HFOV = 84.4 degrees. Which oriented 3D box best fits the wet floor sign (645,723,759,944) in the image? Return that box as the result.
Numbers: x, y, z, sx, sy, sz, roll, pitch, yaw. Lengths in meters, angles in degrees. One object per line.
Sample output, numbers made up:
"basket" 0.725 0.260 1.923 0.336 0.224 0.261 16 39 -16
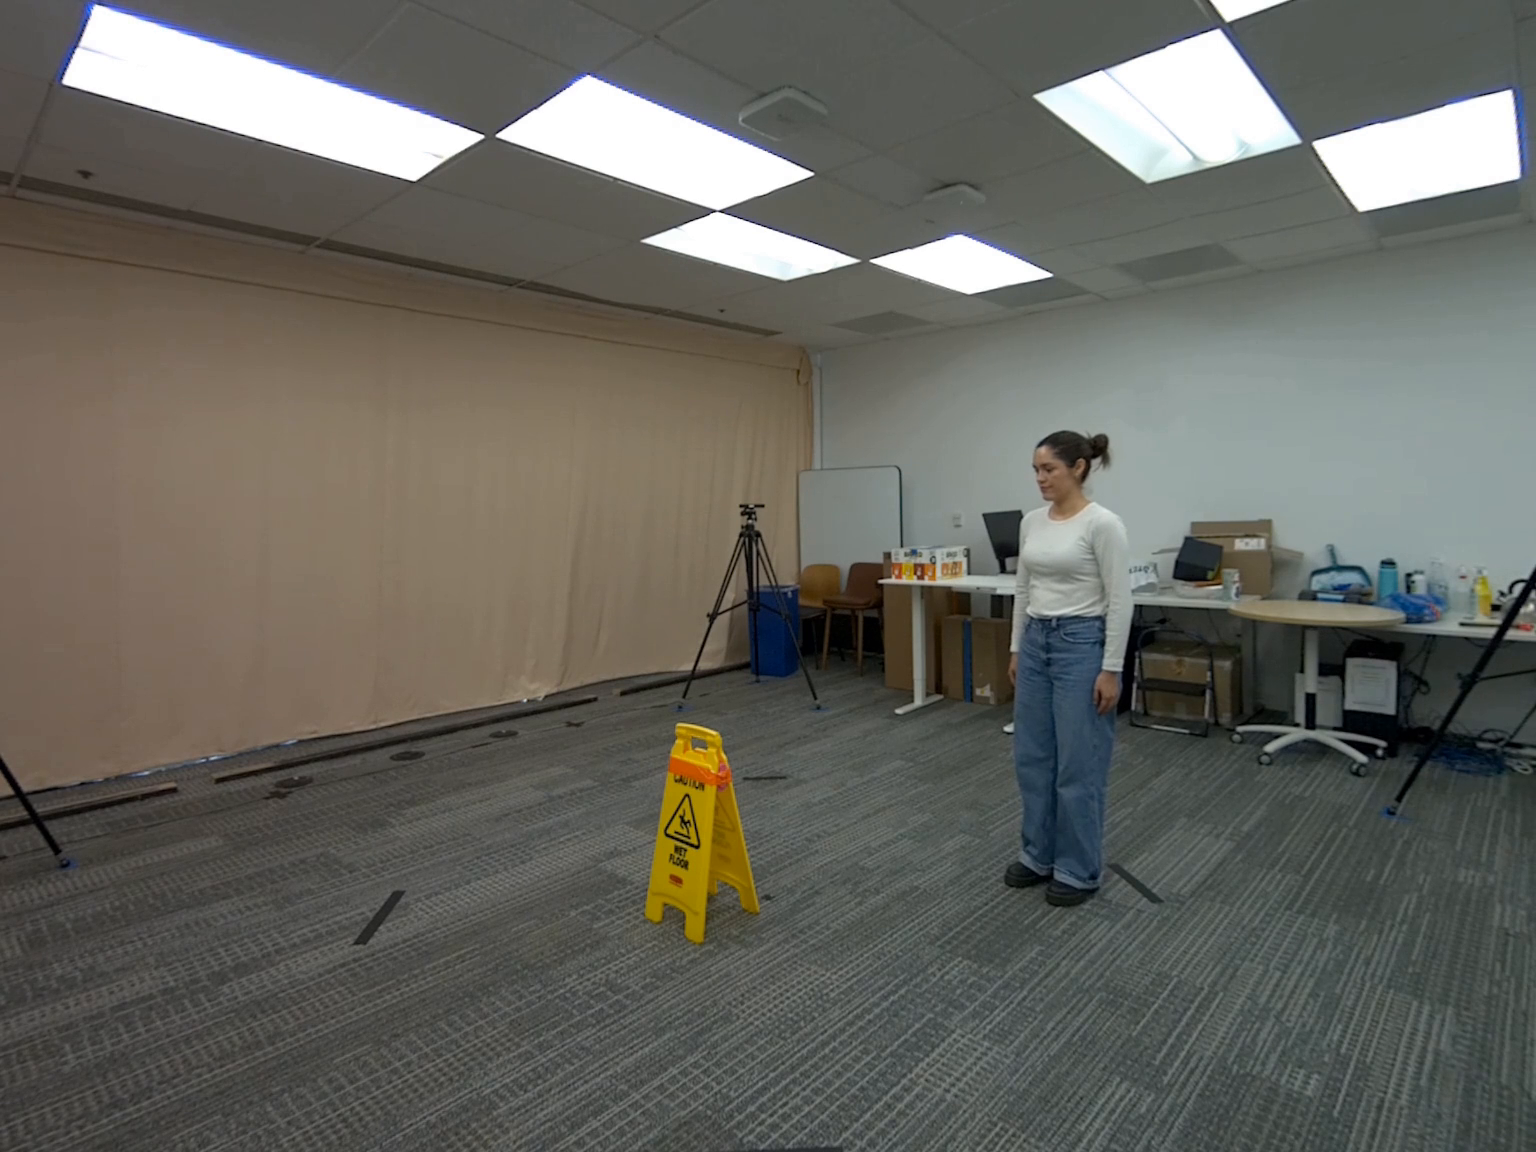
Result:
"wet floor sign" -0.229 0.835 2.849 0.291 0.645 0.281 1 4 43
